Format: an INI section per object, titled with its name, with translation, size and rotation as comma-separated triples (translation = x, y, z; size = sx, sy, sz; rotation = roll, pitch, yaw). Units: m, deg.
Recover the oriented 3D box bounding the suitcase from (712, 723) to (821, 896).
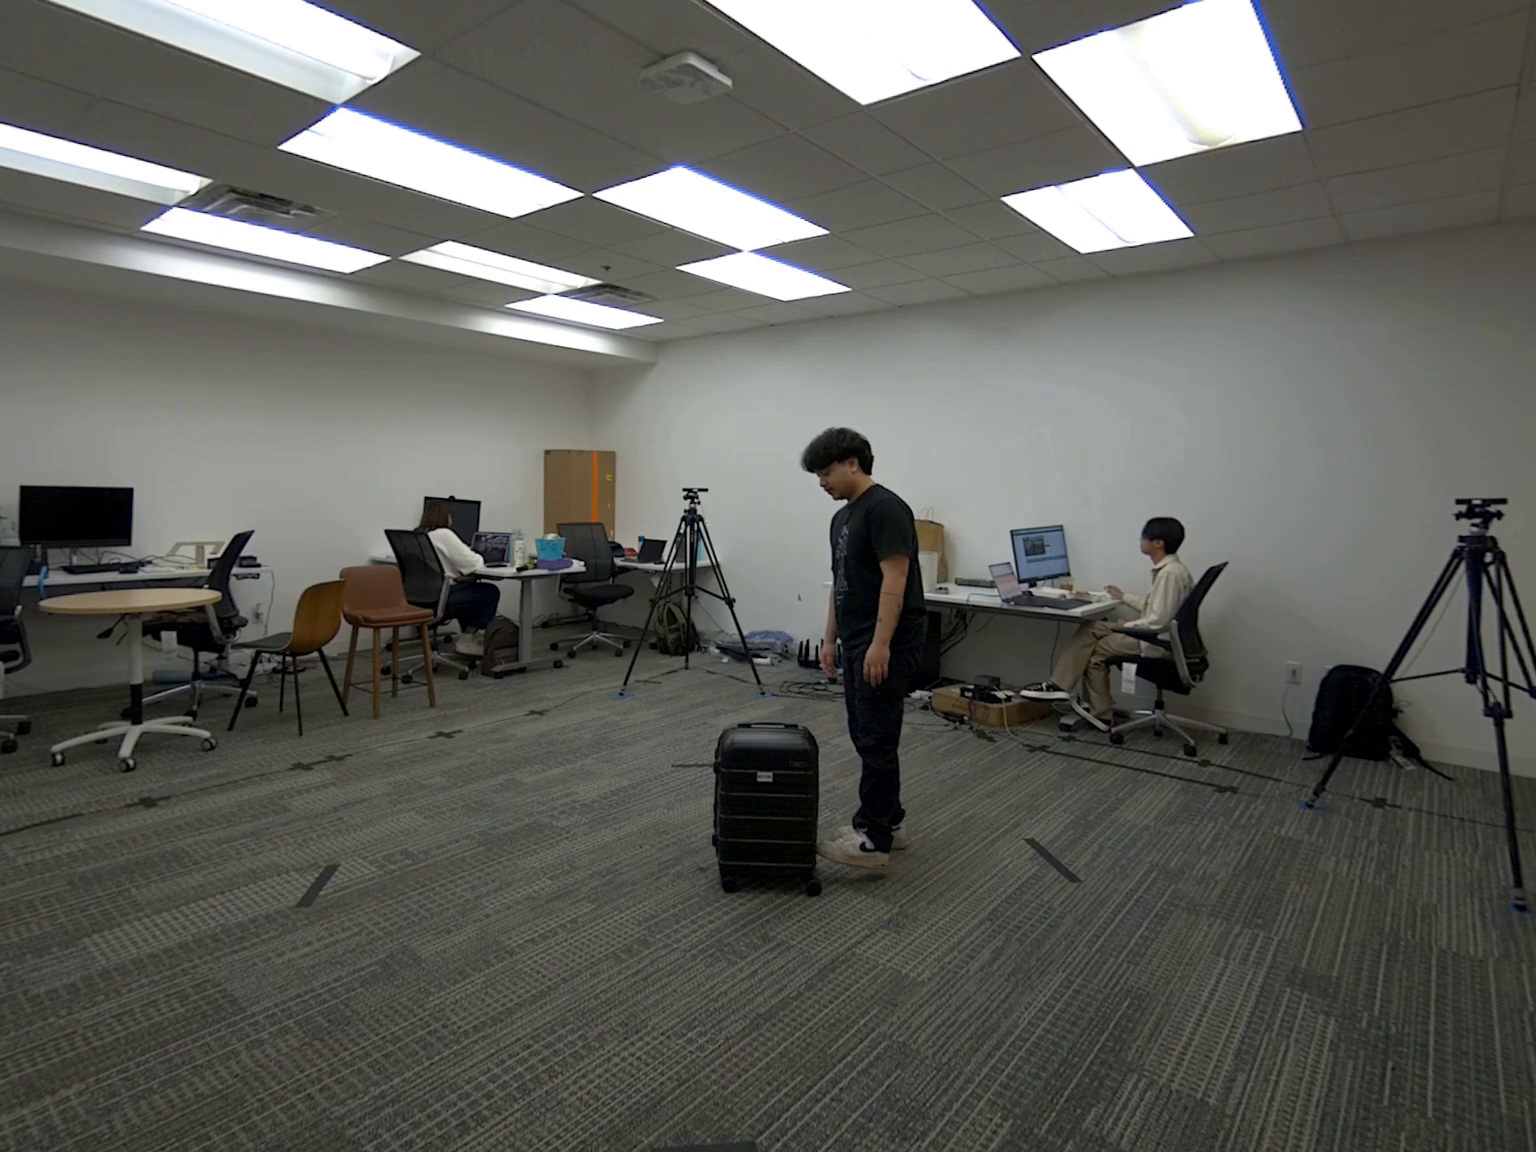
[suitcase]
translation = -0.011, 0.802, 3.036
size = 0.375, 0.547, 0.249
rotation = 1, 4, -1
